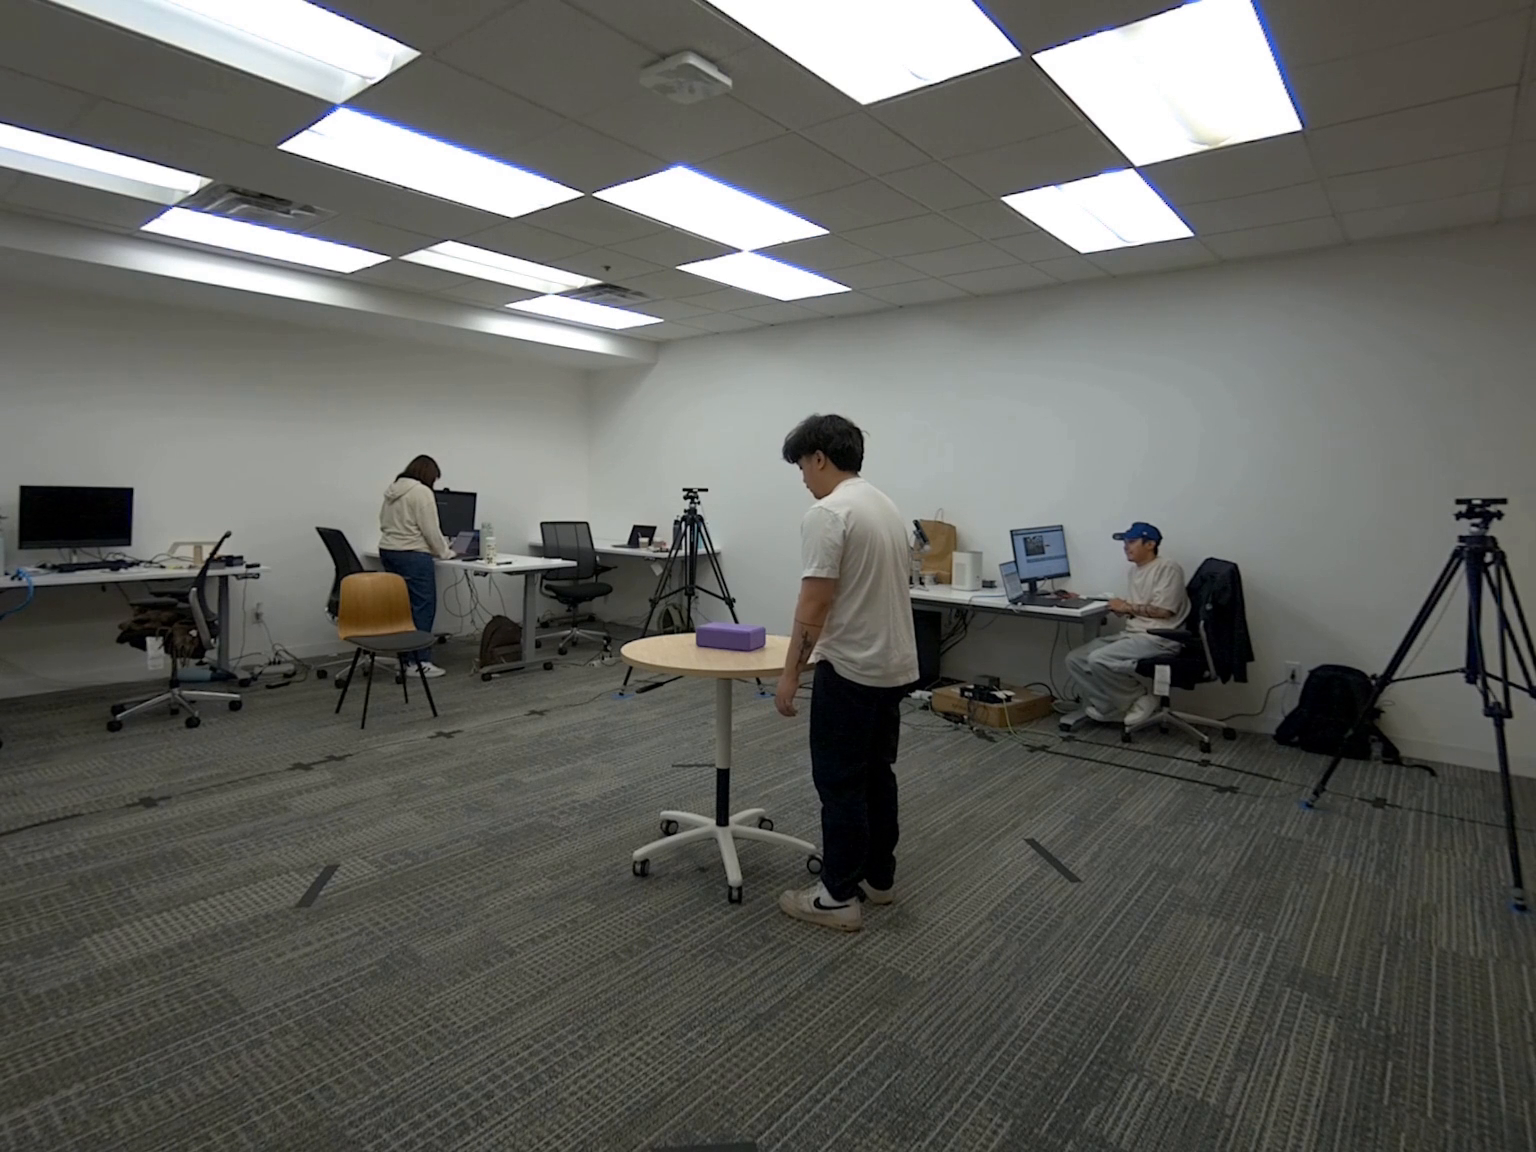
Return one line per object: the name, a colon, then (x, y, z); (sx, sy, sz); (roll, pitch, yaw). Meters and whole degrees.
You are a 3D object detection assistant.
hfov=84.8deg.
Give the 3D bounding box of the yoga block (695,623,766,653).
yoga block: (-0.150, 0.225, 3.201); (0.235, 0.076, 0.145); (3, 5, 27)
